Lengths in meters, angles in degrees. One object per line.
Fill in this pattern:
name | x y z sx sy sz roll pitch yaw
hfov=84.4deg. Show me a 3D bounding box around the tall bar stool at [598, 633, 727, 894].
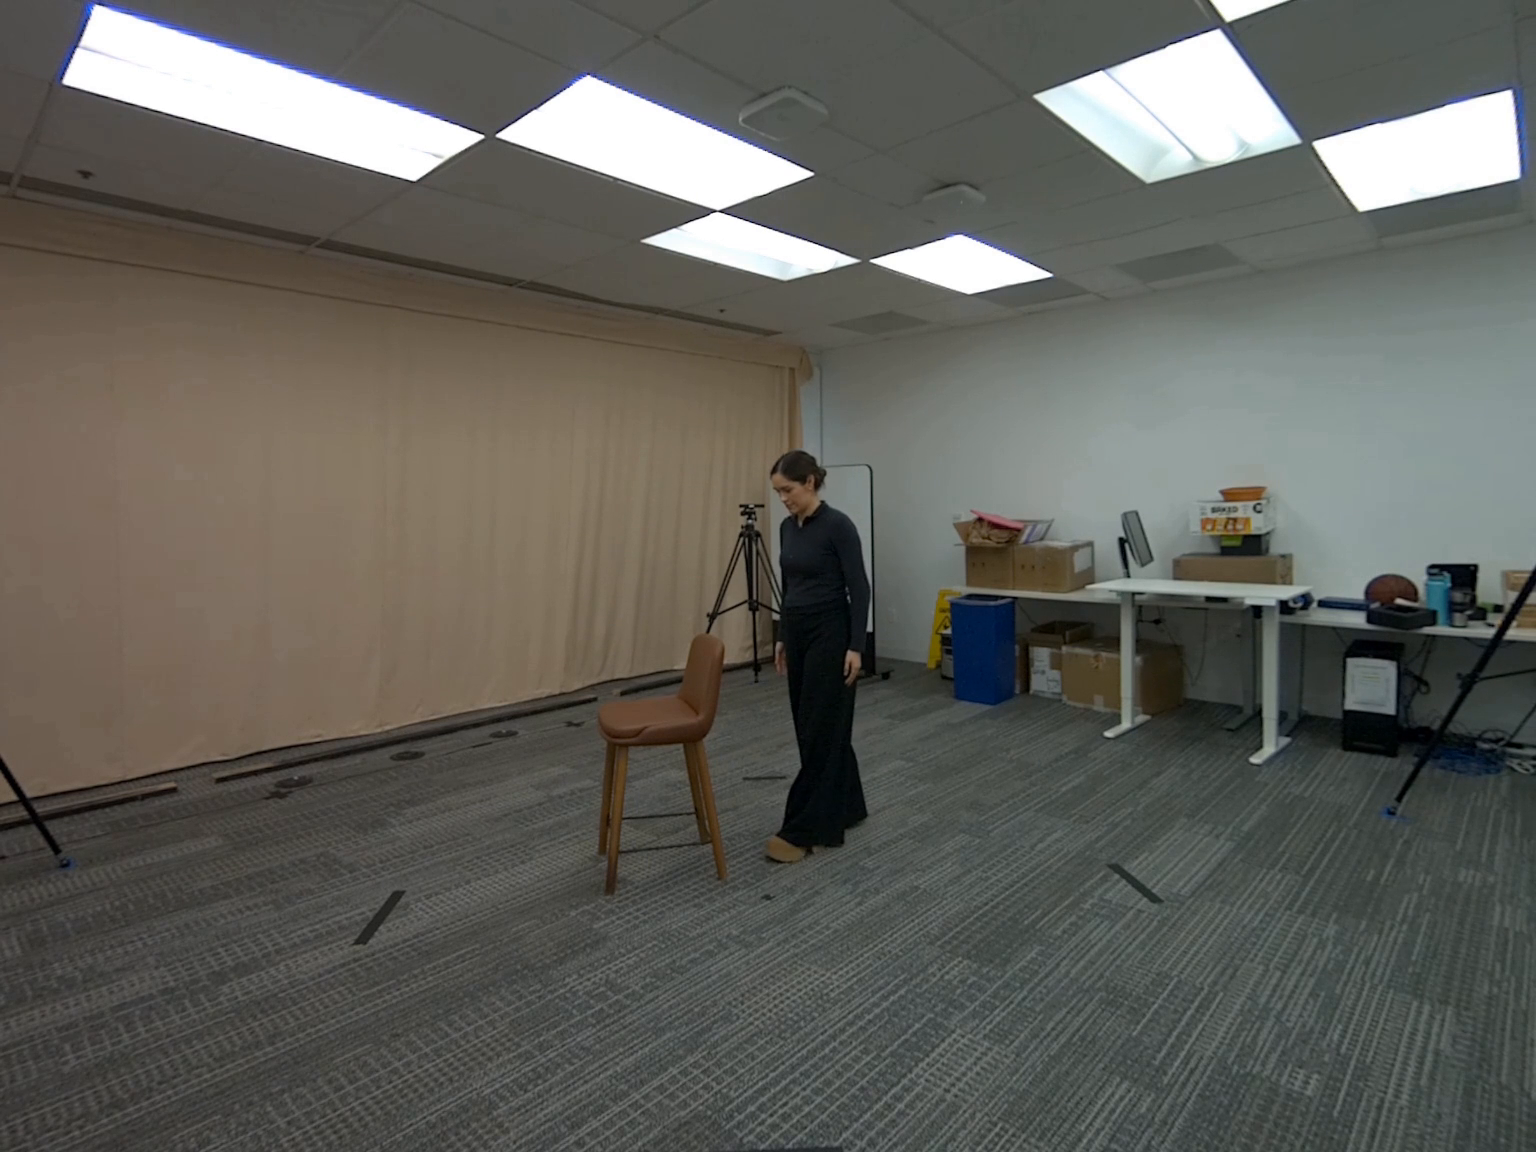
tall bar stool | -0.414 0.686 3.241 0.461 0.888 0.464 0 3 -14
